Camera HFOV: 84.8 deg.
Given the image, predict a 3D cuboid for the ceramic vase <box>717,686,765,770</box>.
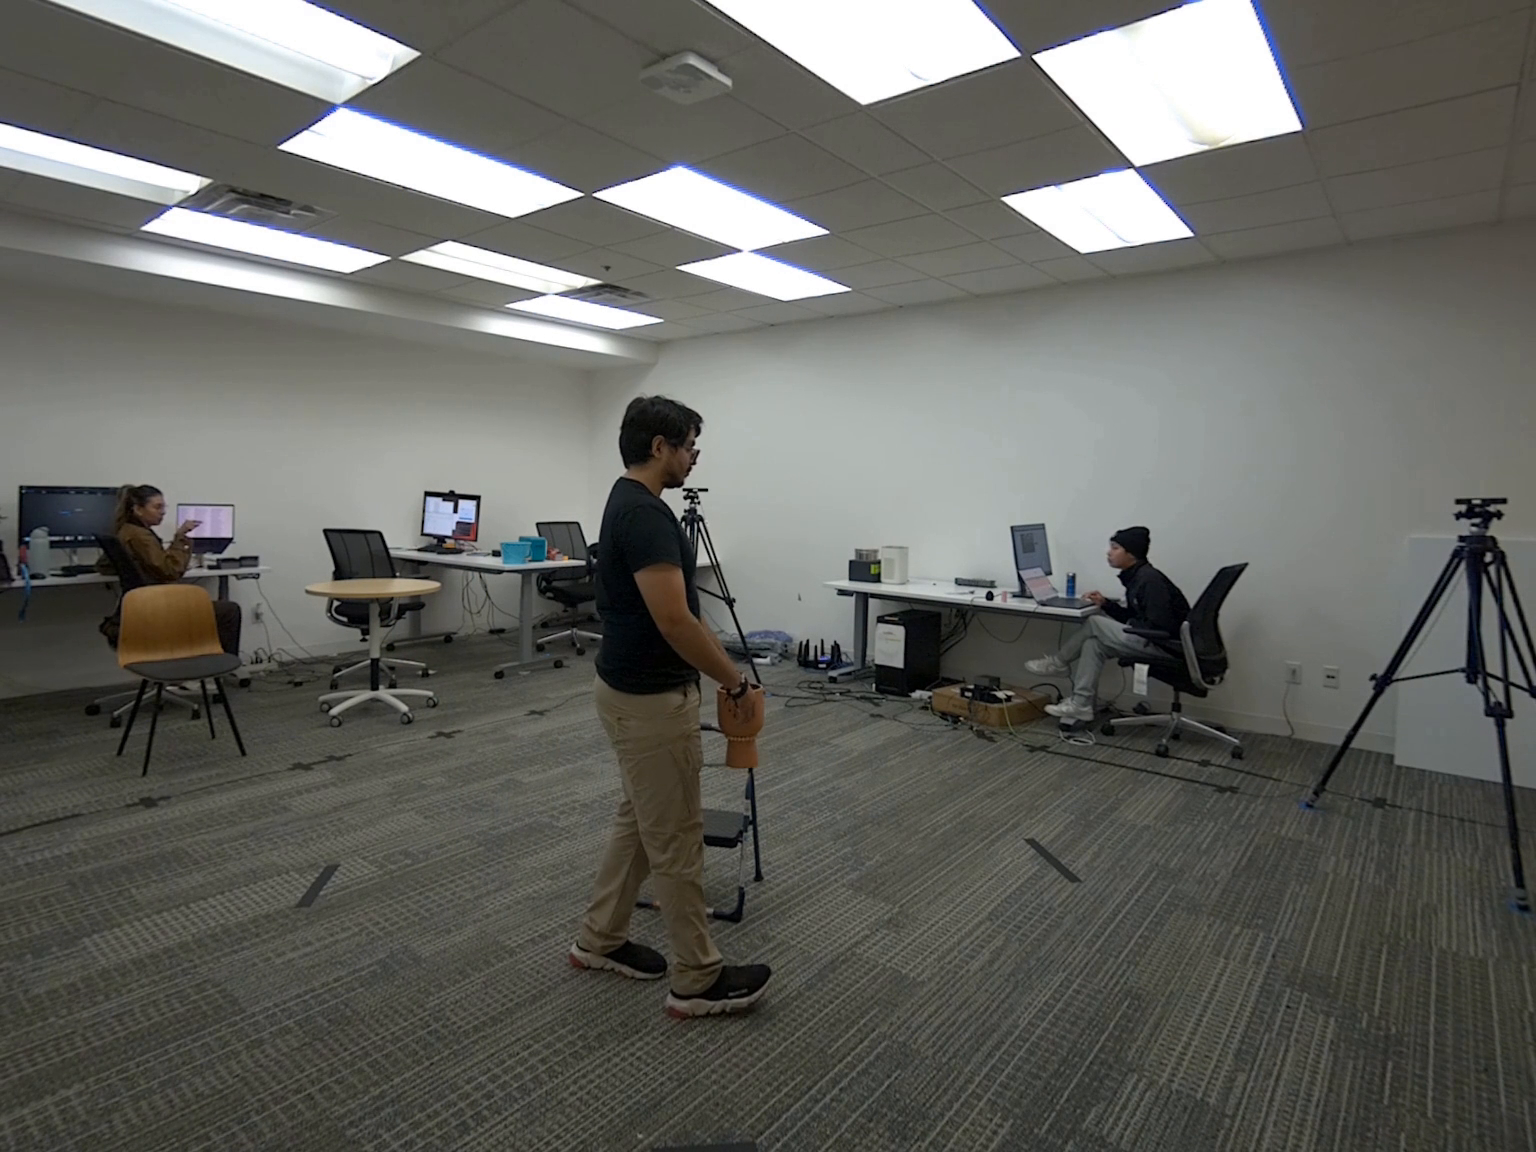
[{"bbox_3d":[-0.084,0.427,2.419,0.138,0.219,0.155,2,5,28],"label":"ceramic vase"}]
